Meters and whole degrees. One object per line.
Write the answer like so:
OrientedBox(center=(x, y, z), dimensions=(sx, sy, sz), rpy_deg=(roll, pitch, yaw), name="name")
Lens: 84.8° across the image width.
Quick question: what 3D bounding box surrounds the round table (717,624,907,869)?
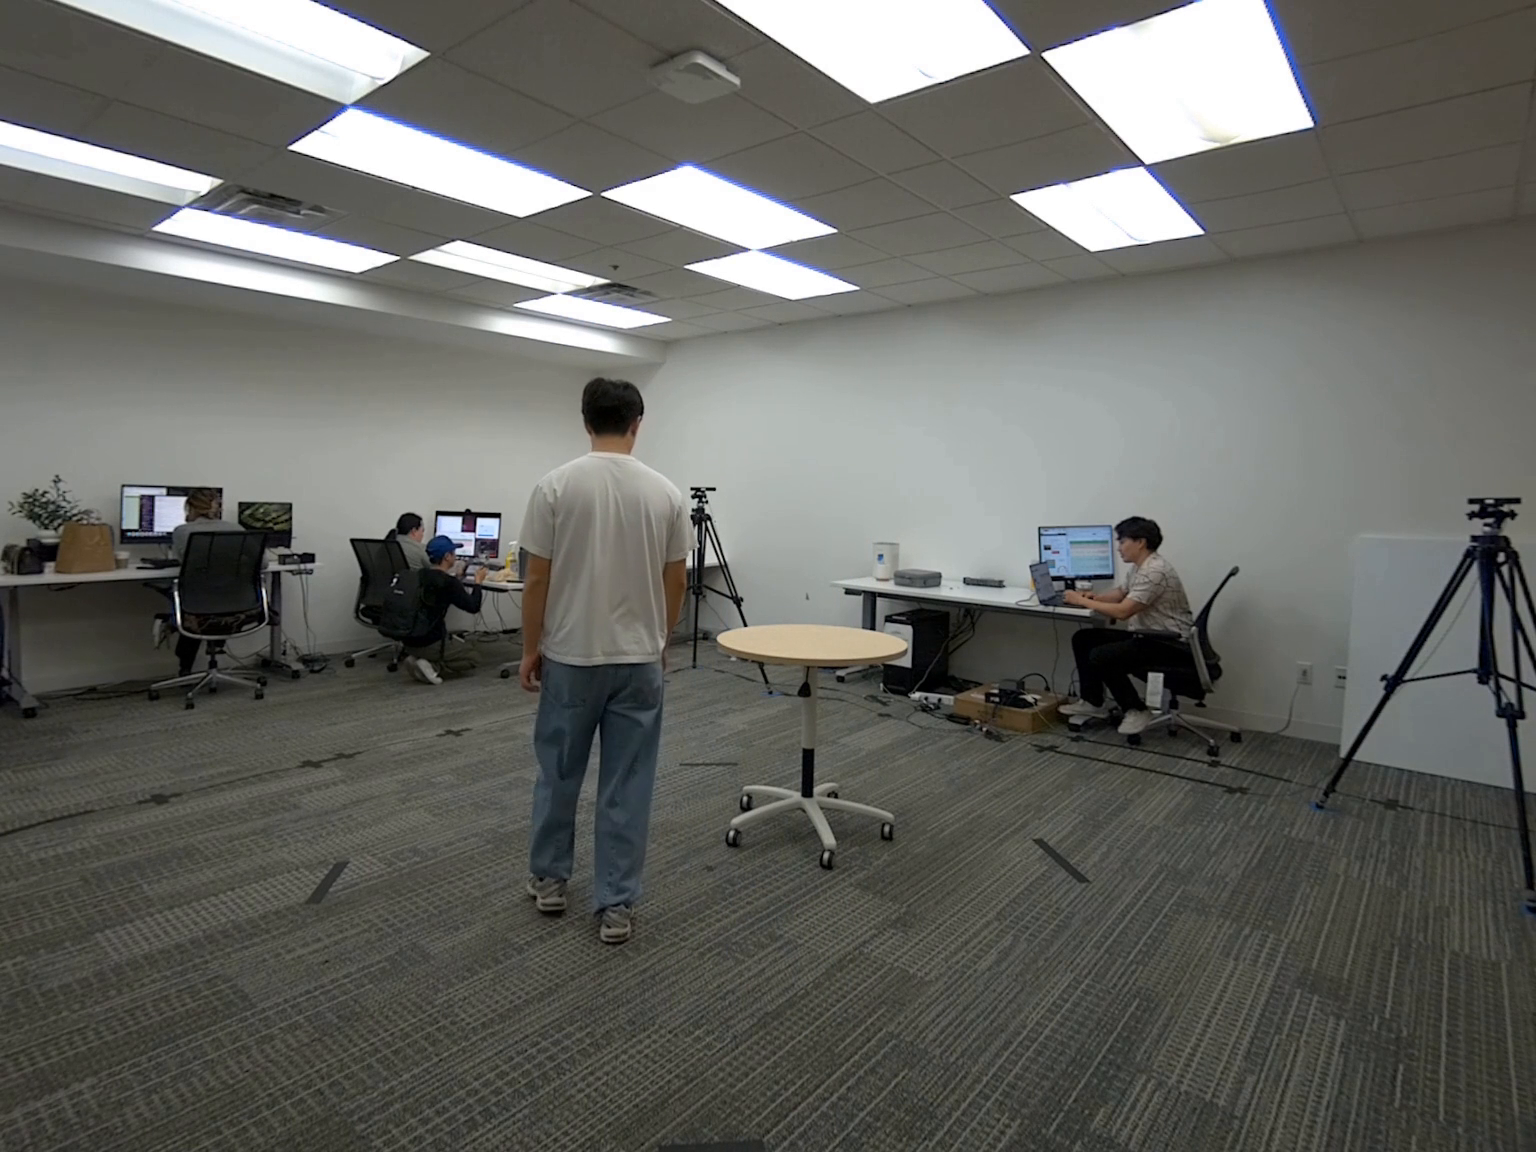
OrientedBox(center=(0.150, 0.649, 3.465), dimensions=(0.763, 0.791, 0.768), rpy_deg=(1, 4, -2), name="round table")
